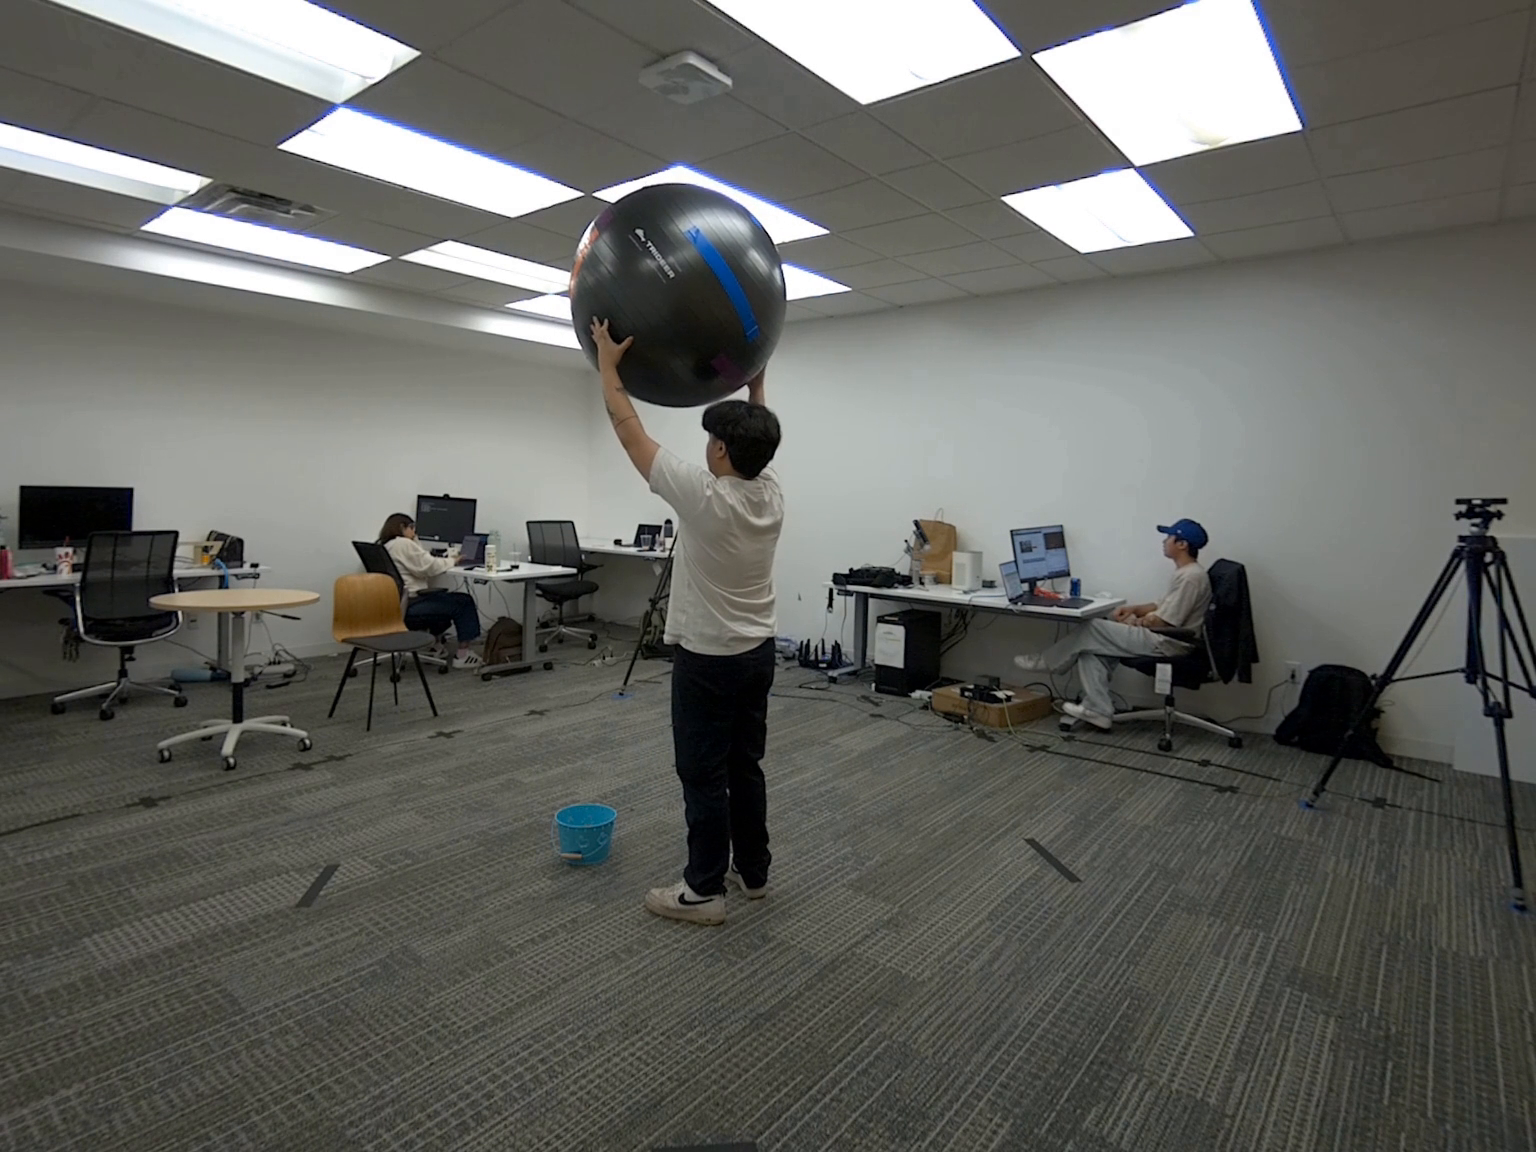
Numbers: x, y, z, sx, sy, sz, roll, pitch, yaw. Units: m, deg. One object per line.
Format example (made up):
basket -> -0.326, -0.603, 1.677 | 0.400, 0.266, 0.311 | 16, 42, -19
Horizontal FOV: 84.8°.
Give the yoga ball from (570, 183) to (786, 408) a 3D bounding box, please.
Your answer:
yoga ball -> -0.325, -0.972, 2.976 | 0.757, 0.755, 0.762 | 1, 4, -2
